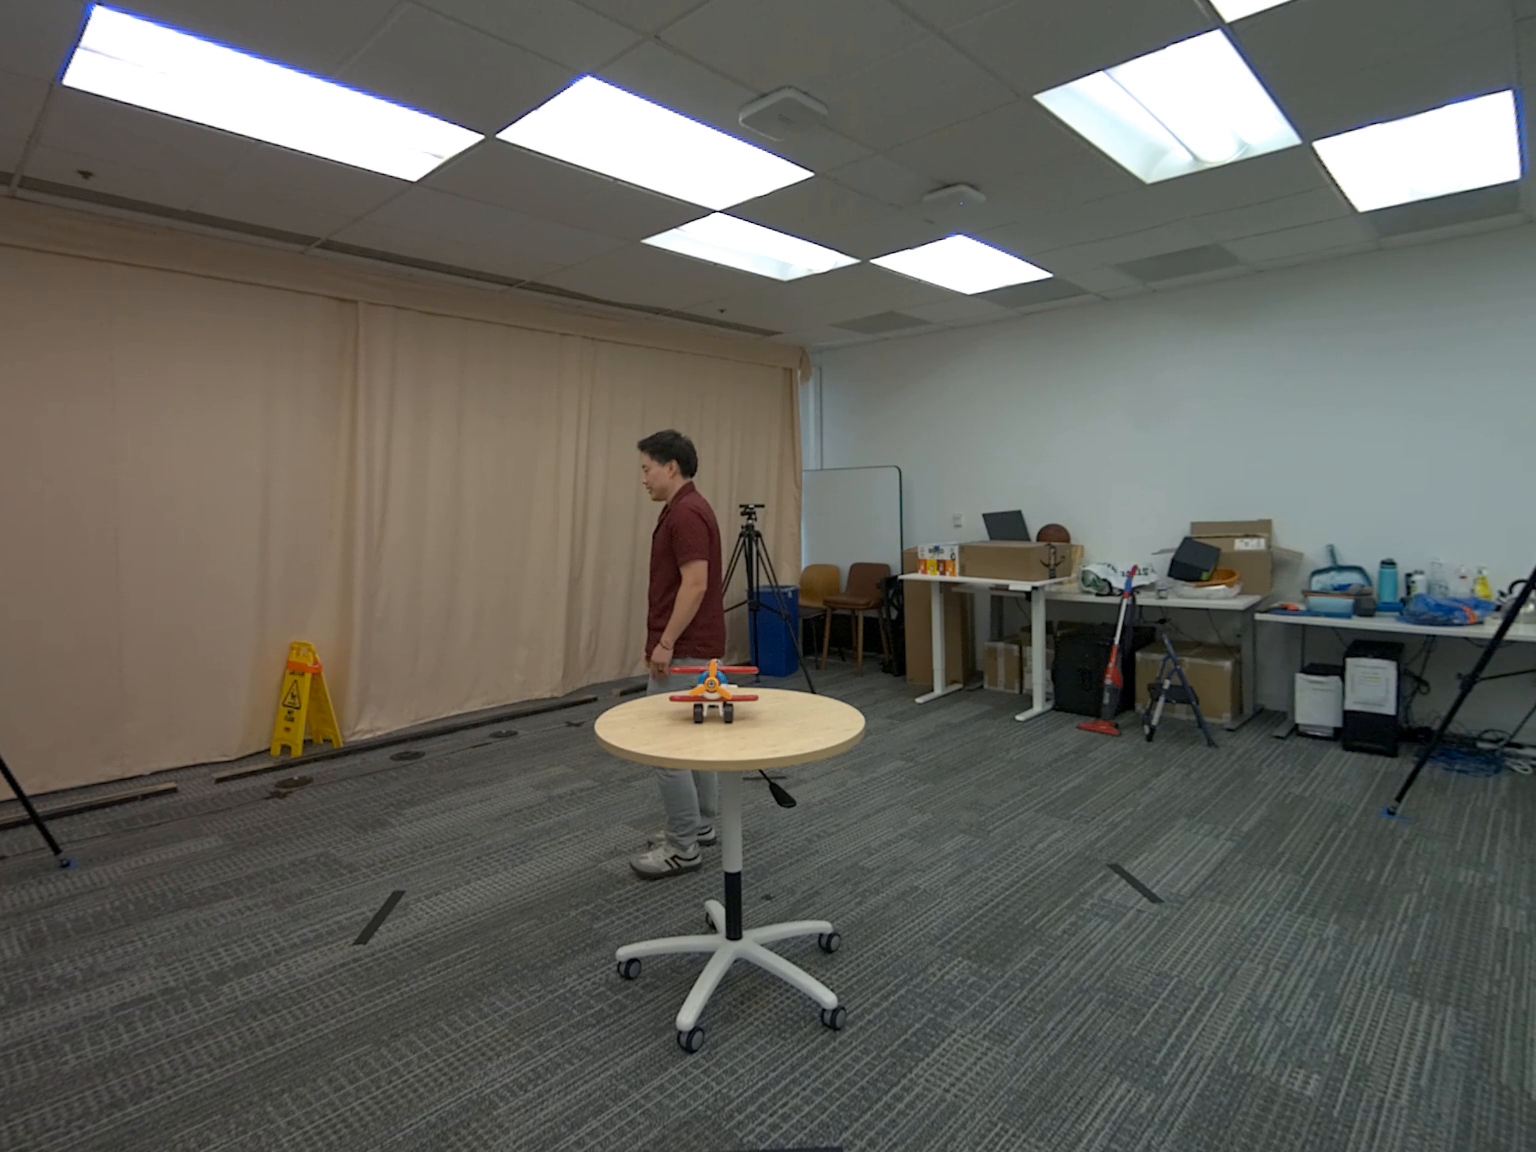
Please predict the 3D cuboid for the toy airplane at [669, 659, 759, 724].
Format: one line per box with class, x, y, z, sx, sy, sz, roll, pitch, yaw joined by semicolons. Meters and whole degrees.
toy airplane;-0.168;0.330;2.440;0.245;0.156;0.267;-4;7;-28
